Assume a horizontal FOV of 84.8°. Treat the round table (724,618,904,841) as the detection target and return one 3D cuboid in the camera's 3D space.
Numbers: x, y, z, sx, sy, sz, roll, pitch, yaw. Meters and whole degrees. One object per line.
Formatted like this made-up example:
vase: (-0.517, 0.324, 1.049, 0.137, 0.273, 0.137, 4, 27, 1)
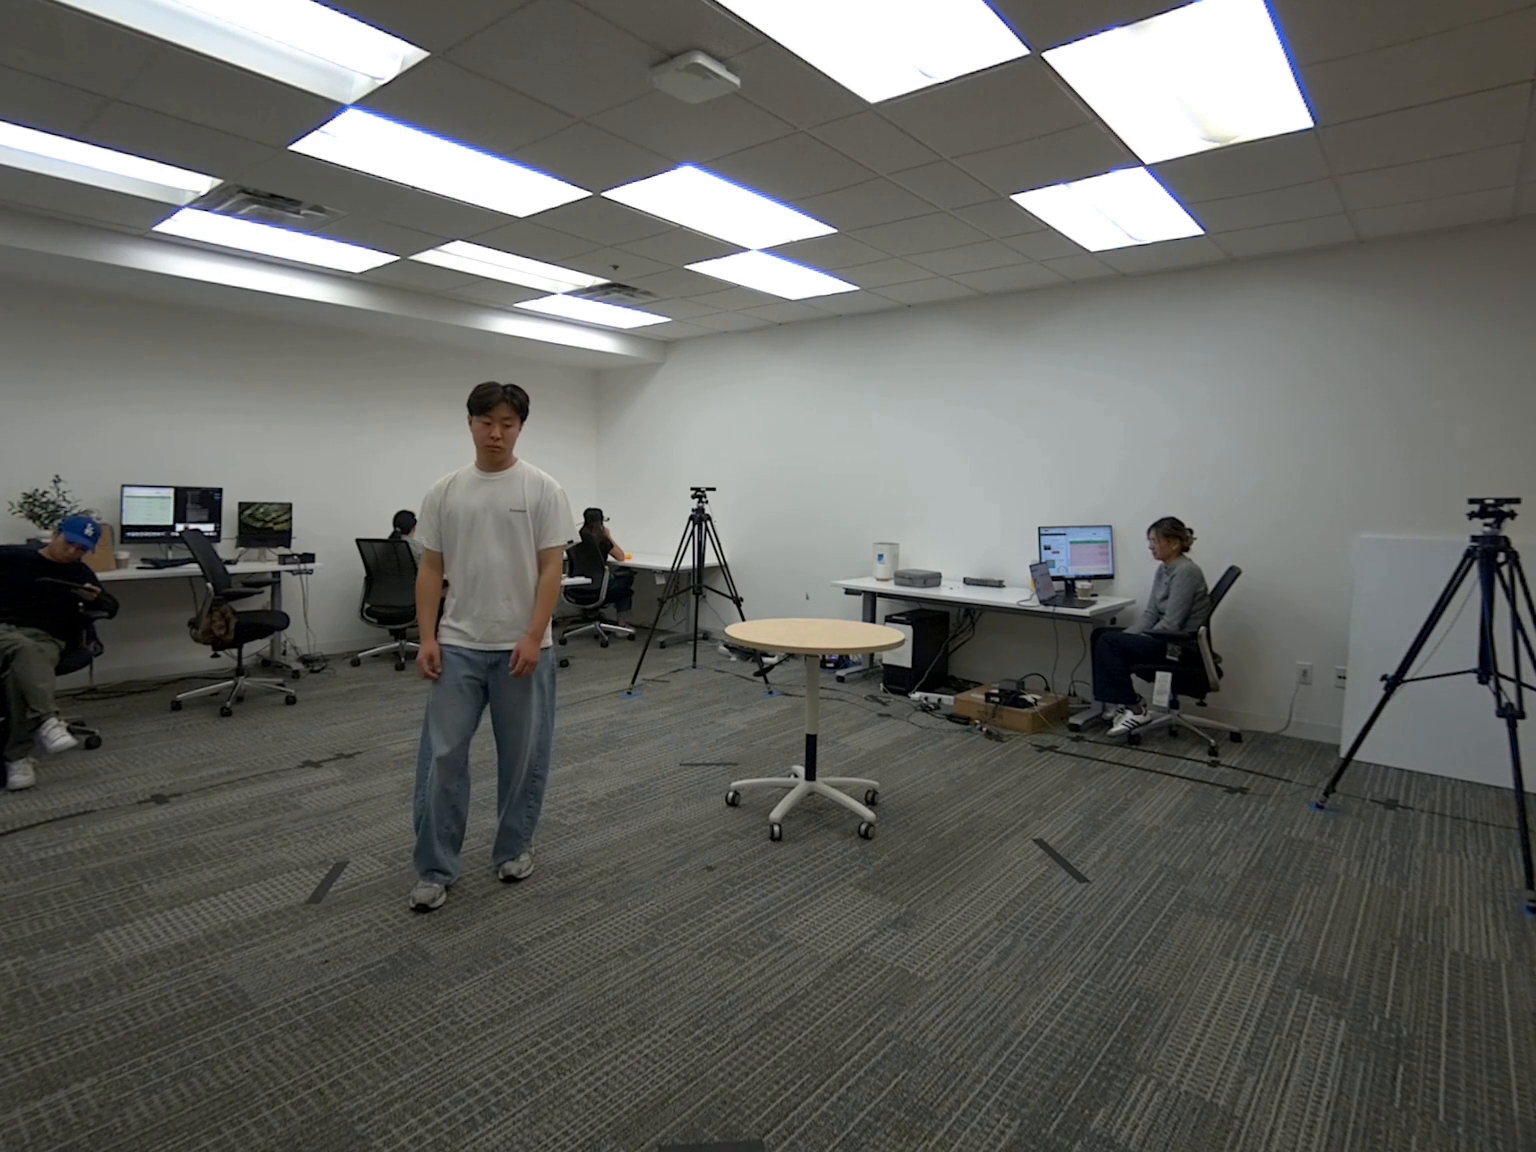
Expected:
round table: (0.174, 0.631, 3.669, 0.763, 0.791, 0.767, 1, 4, -2)
